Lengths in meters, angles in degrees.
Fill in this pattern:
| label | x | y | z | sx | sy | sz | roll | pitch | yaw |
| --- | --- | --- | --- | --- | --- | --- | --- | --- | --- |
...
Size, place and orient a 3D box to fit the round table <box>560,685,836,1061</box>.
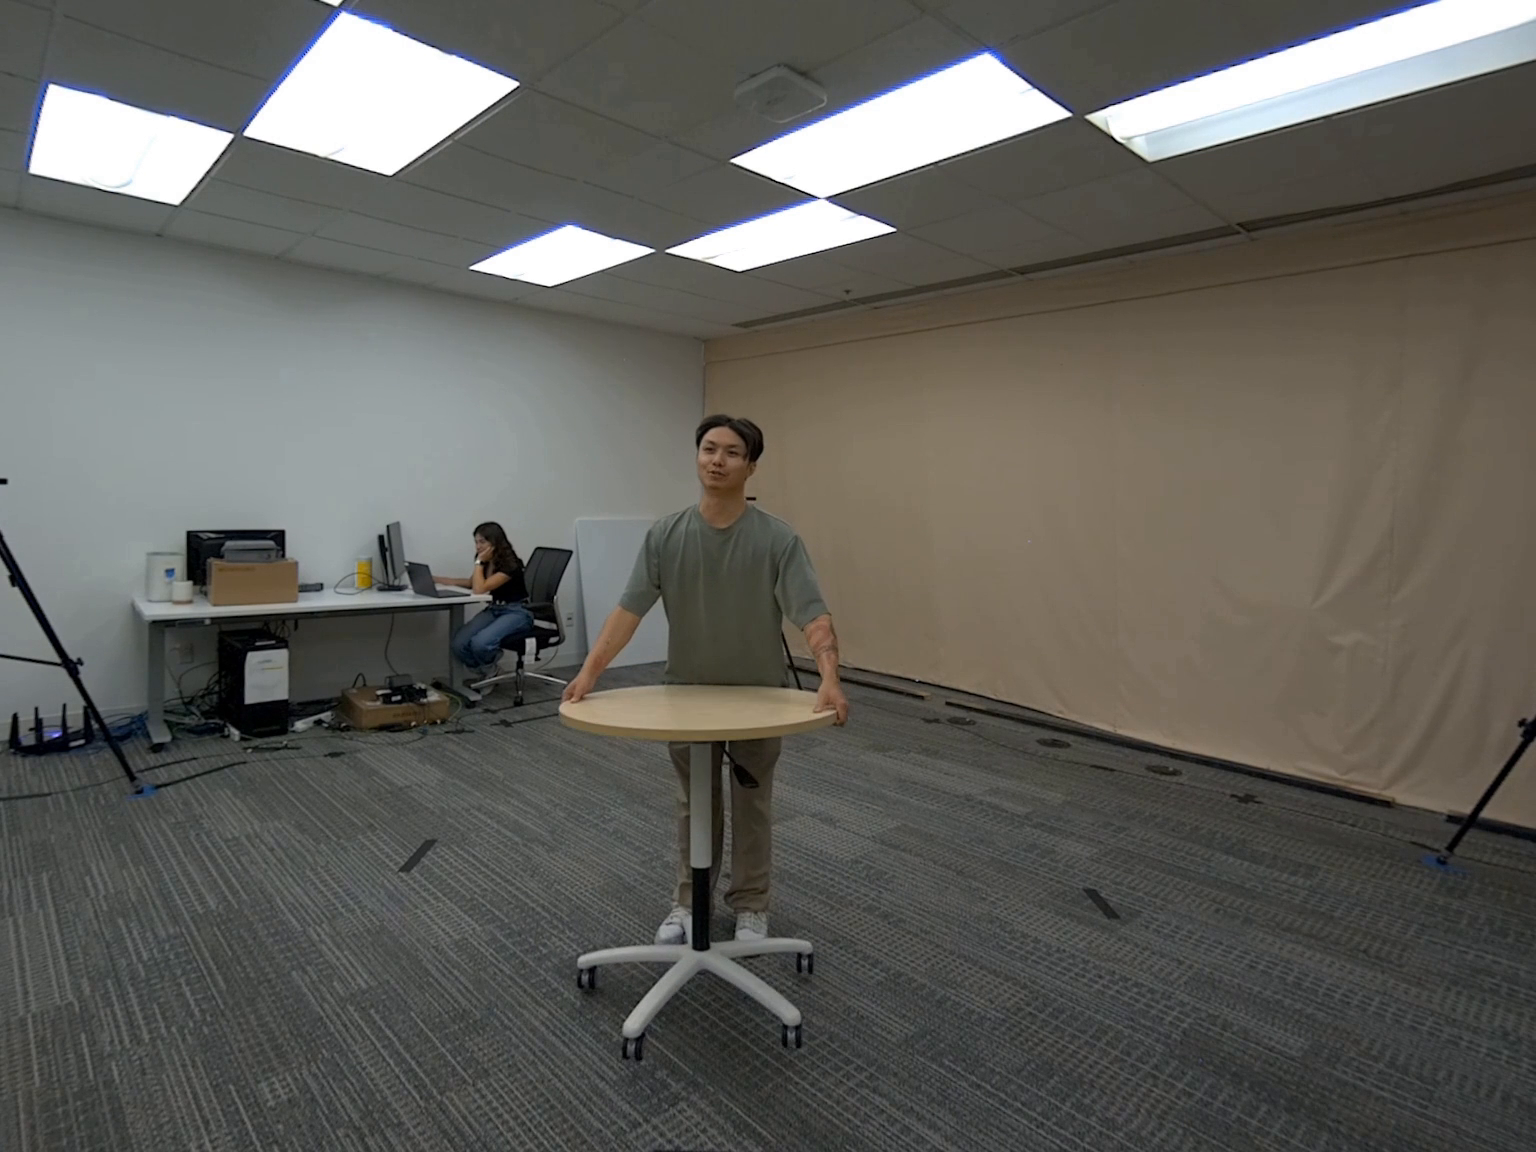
| label | x | y | z | sx | sy | sz | roll | pitch | yaw |
| --- | --- | --- | --- | --- | --- | --- | --- | --- | --- |
| round table | -0.203 | 0.752 | 2.296 | 0.784 | 0.787 | 0.785 | 0 | -1 | -1 |
